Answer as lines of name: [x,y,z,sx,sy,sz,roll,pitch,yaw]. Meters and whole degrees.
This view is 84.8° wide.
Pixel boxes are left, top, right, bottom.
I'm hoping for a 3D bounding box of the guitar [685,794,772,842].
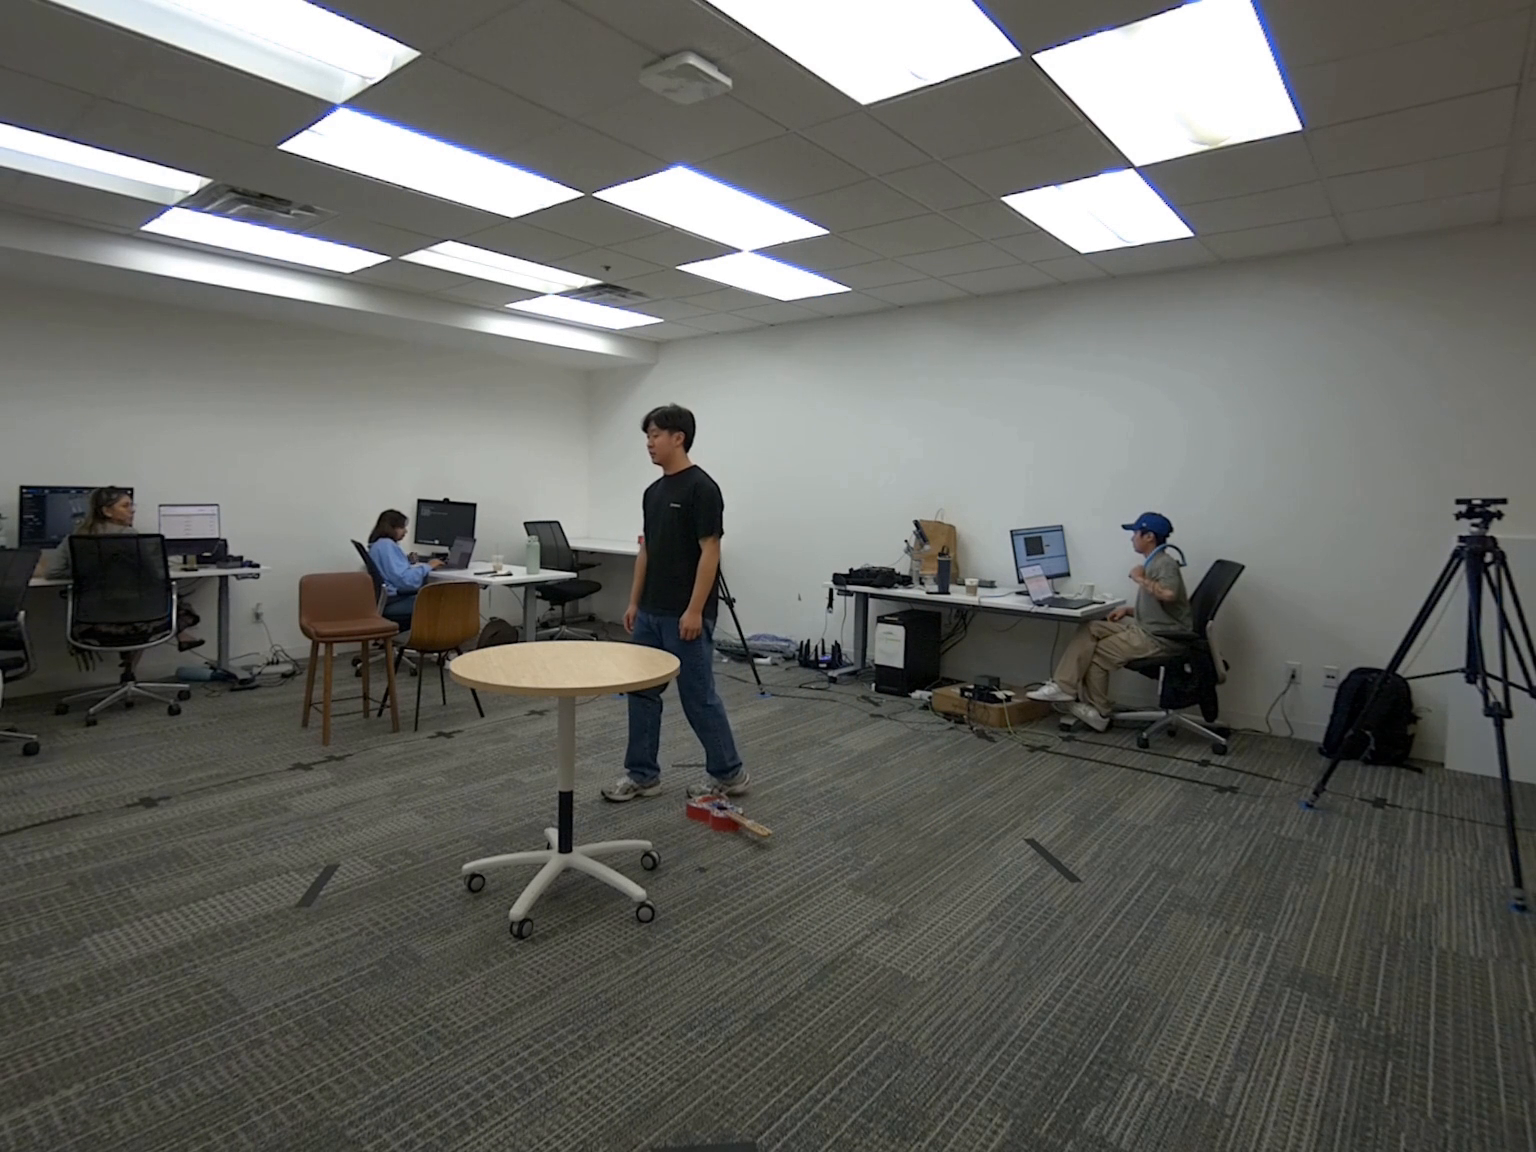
guitar: [-0.183,0.998,3.484,0.188,0.070,0.512,-1,5,-28]
